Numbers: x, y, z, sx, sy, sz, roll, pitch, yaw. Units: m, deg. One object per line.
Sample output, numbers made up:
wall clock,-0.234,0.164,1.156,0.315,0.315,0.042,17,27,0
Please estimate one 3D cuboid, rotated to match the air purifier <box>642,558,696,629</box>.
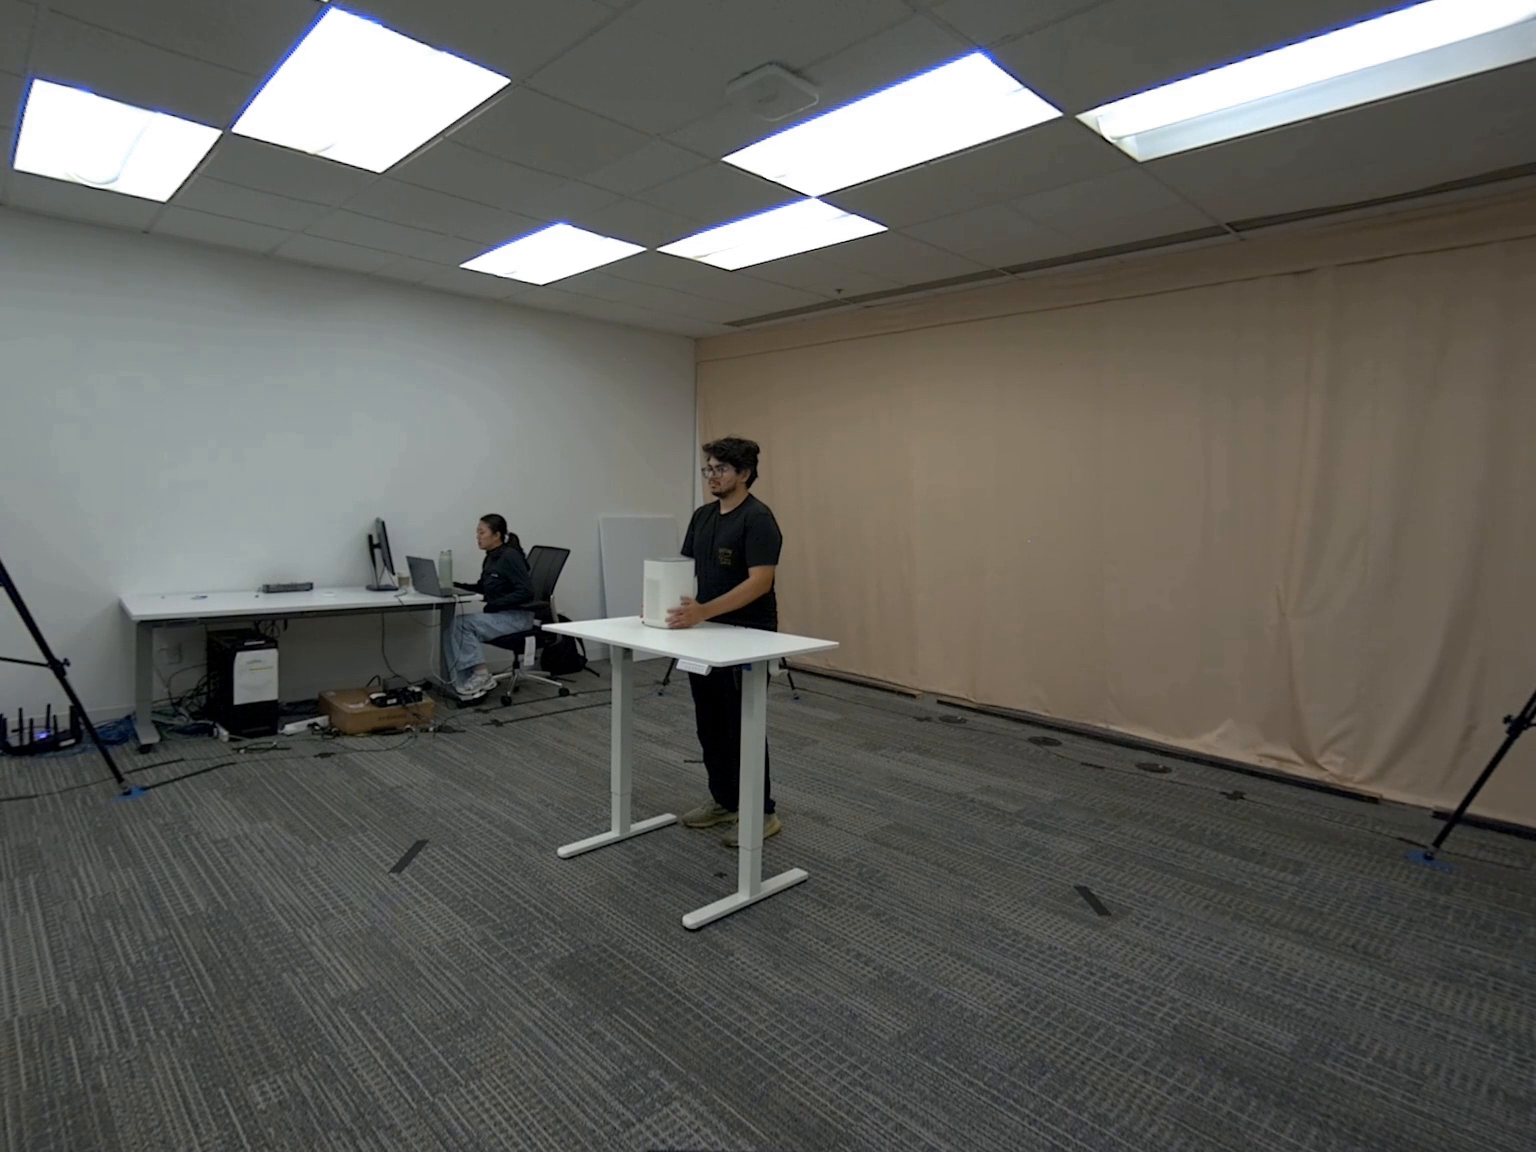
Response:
air purifier,-0.398,0.063,3.305,0.167,0.265,0.176,-1,4,-44
